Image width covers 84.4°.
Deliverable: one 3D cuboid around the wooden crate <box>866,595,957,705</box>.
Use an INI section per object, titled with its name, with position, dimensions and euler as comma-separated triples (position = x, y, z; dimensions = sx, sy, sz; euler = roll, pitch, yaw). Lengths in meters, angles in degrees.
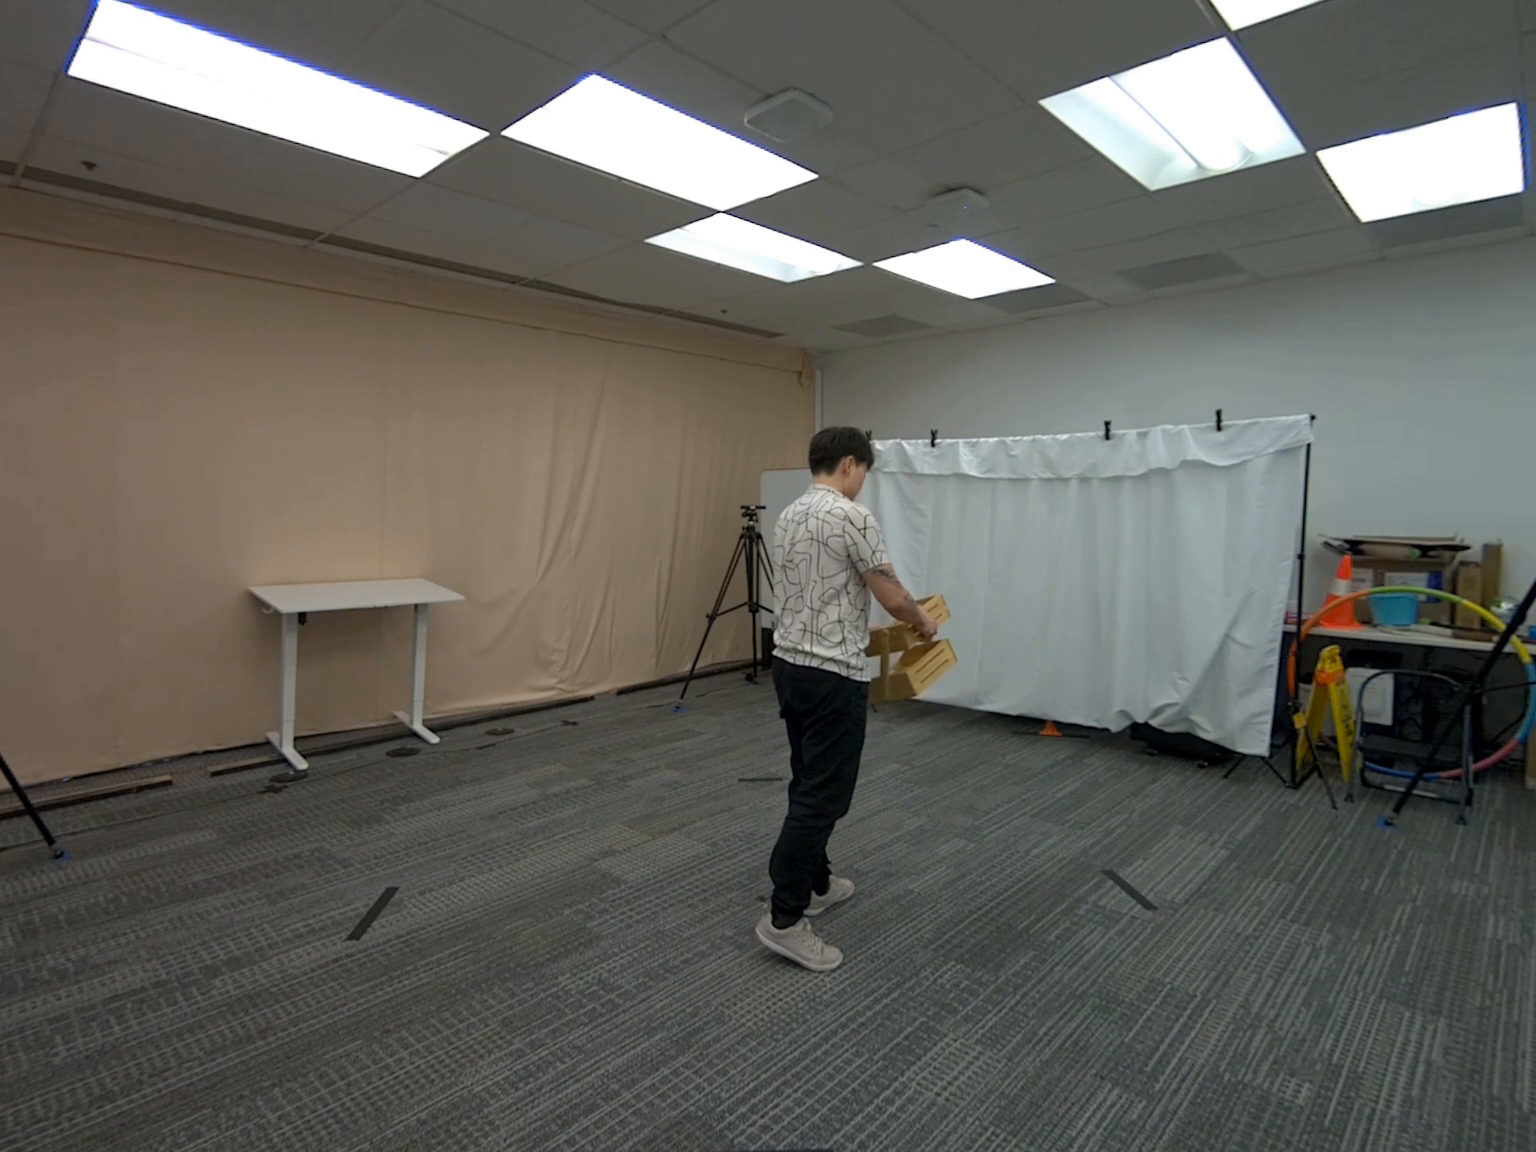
[wooden crate]
position = 0.490, 0.267, 3.051
dimensions = 0.309, 0.272, 0.318
euler = -20, 5, 45
